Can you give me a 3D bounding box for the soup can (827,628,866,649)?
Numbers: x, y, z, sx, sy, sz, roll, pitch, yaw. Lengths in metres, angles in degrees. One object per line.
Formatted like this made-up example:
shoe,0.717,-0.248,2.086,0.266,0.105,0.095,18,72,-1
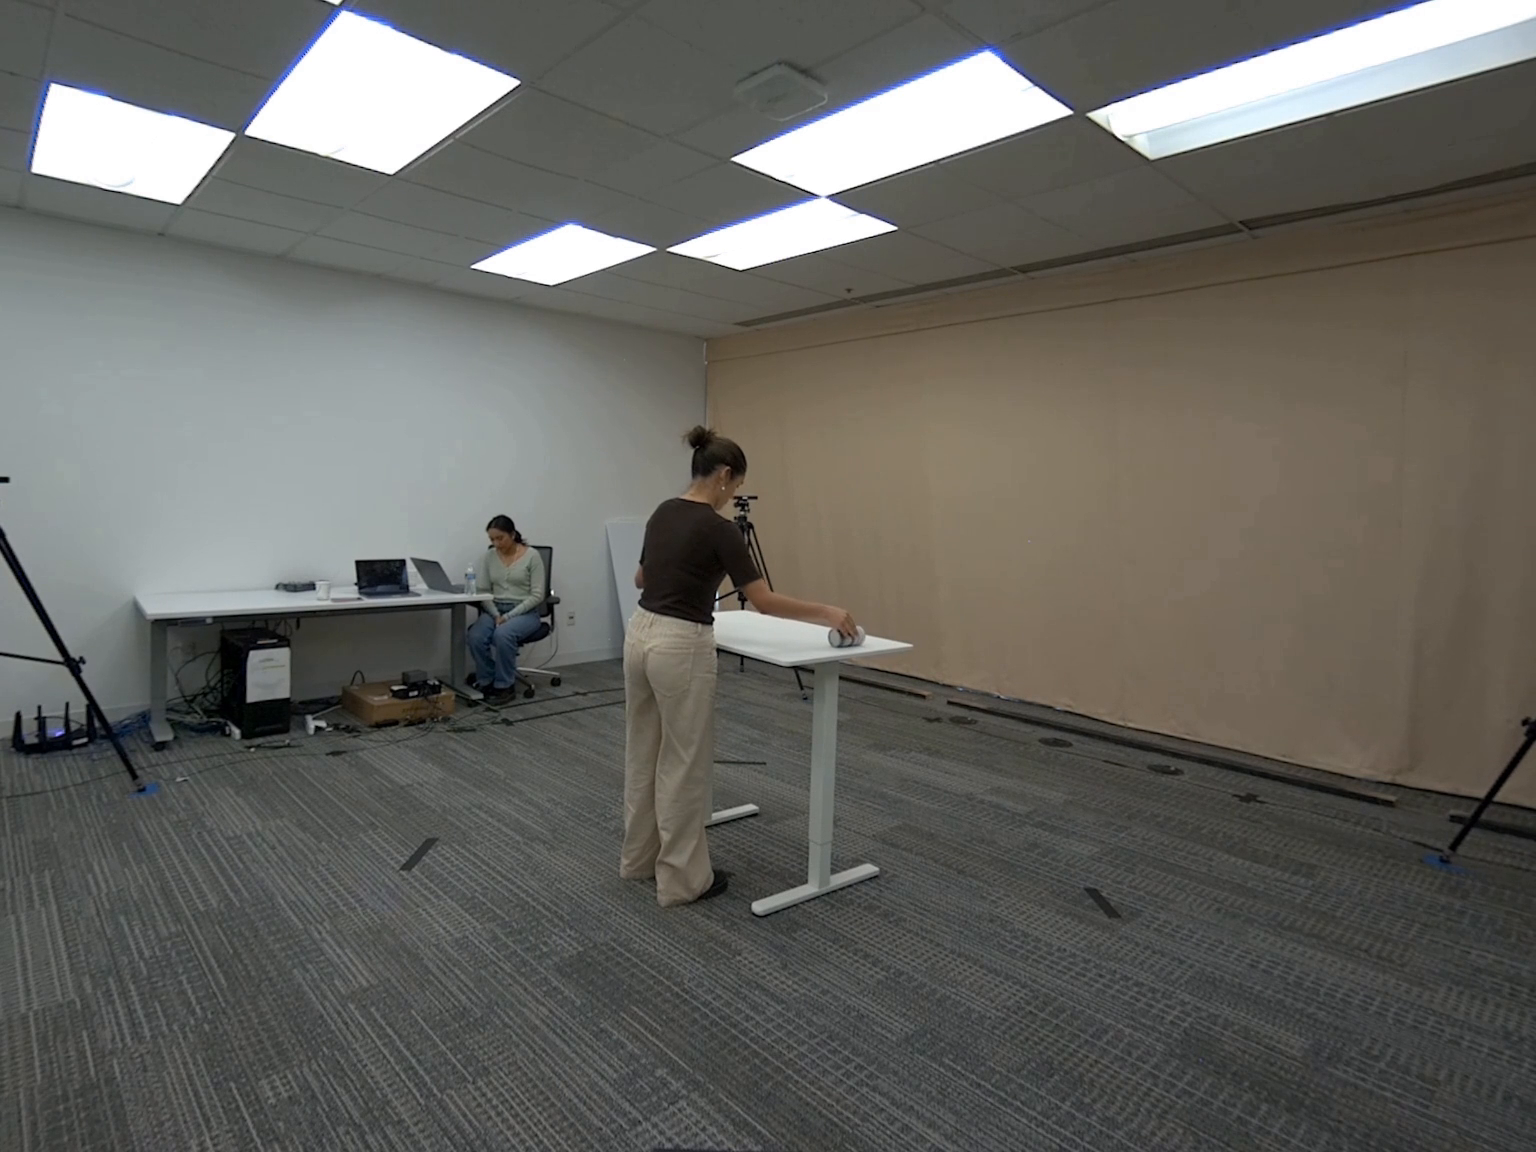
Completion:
soup can,0.266,0.210,2.952,0.119,0.067,0.068,-6,7,-27
